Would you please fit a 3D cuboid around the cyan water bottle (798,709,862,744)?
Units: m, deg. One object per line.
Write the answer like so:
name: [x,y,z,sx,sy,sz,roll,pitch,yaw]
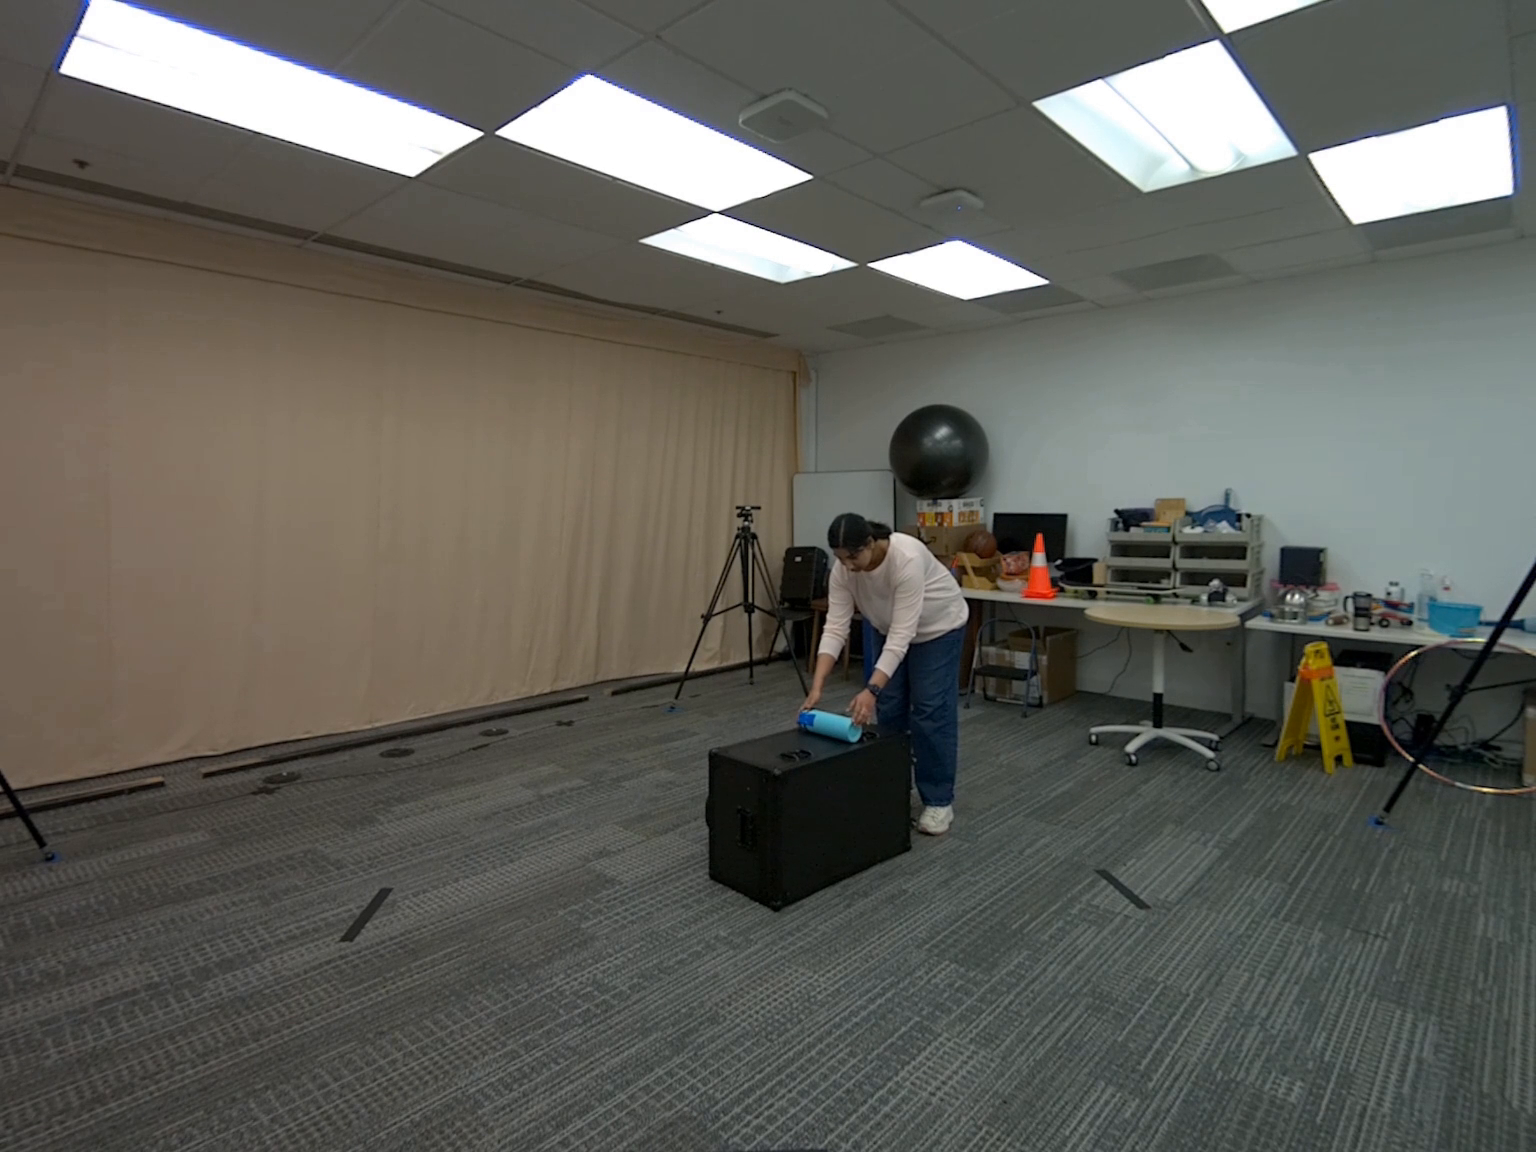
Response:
cyan water bottle: [0.232,0.582,3.332,0.089,0.092,0.293,-3,6,-44]
